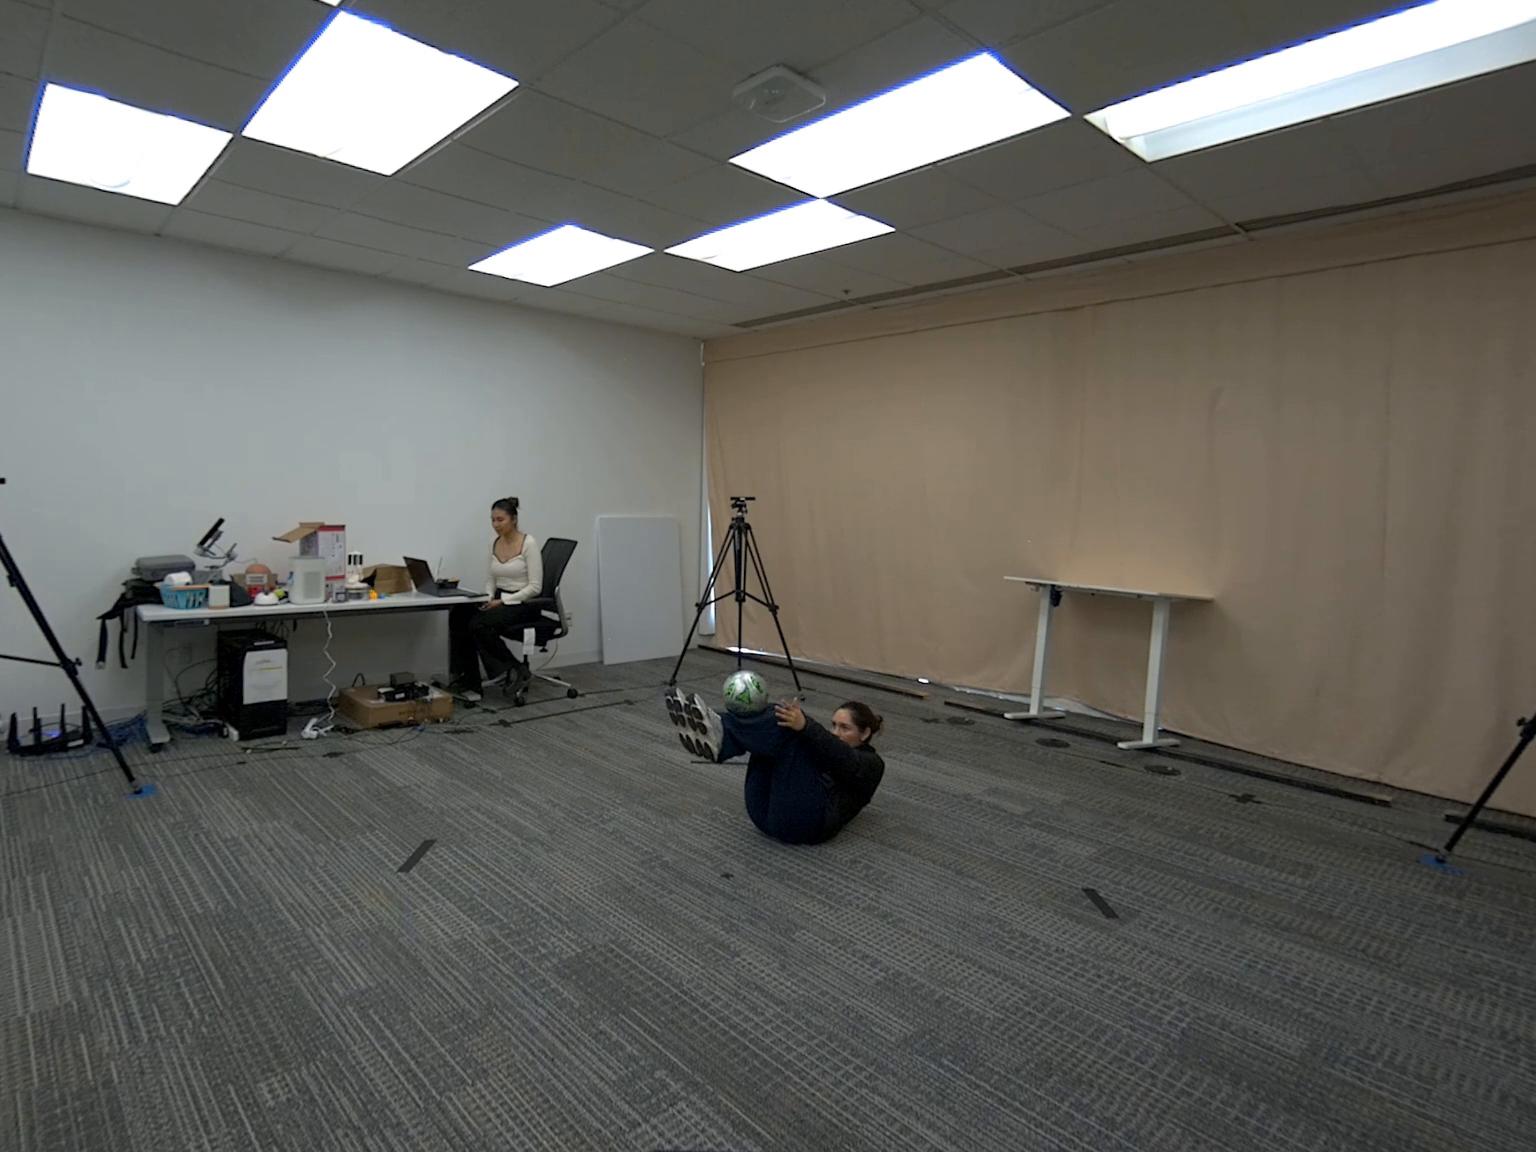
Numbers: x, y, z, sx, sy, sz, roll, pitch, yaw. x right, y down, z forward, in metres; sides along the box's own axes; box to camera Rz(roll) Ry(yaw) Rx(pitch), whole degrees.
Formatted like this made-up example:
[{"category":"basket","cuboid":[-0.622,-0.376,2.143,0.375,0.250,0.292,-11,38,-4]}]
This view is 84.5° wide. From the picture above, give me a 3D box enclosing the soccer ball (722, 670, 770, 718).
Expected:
[{"category":"soccer ball","cuboid":[-0.097,0.469,3.330,0.187,0.186,0.188,0,7,-1]}]
